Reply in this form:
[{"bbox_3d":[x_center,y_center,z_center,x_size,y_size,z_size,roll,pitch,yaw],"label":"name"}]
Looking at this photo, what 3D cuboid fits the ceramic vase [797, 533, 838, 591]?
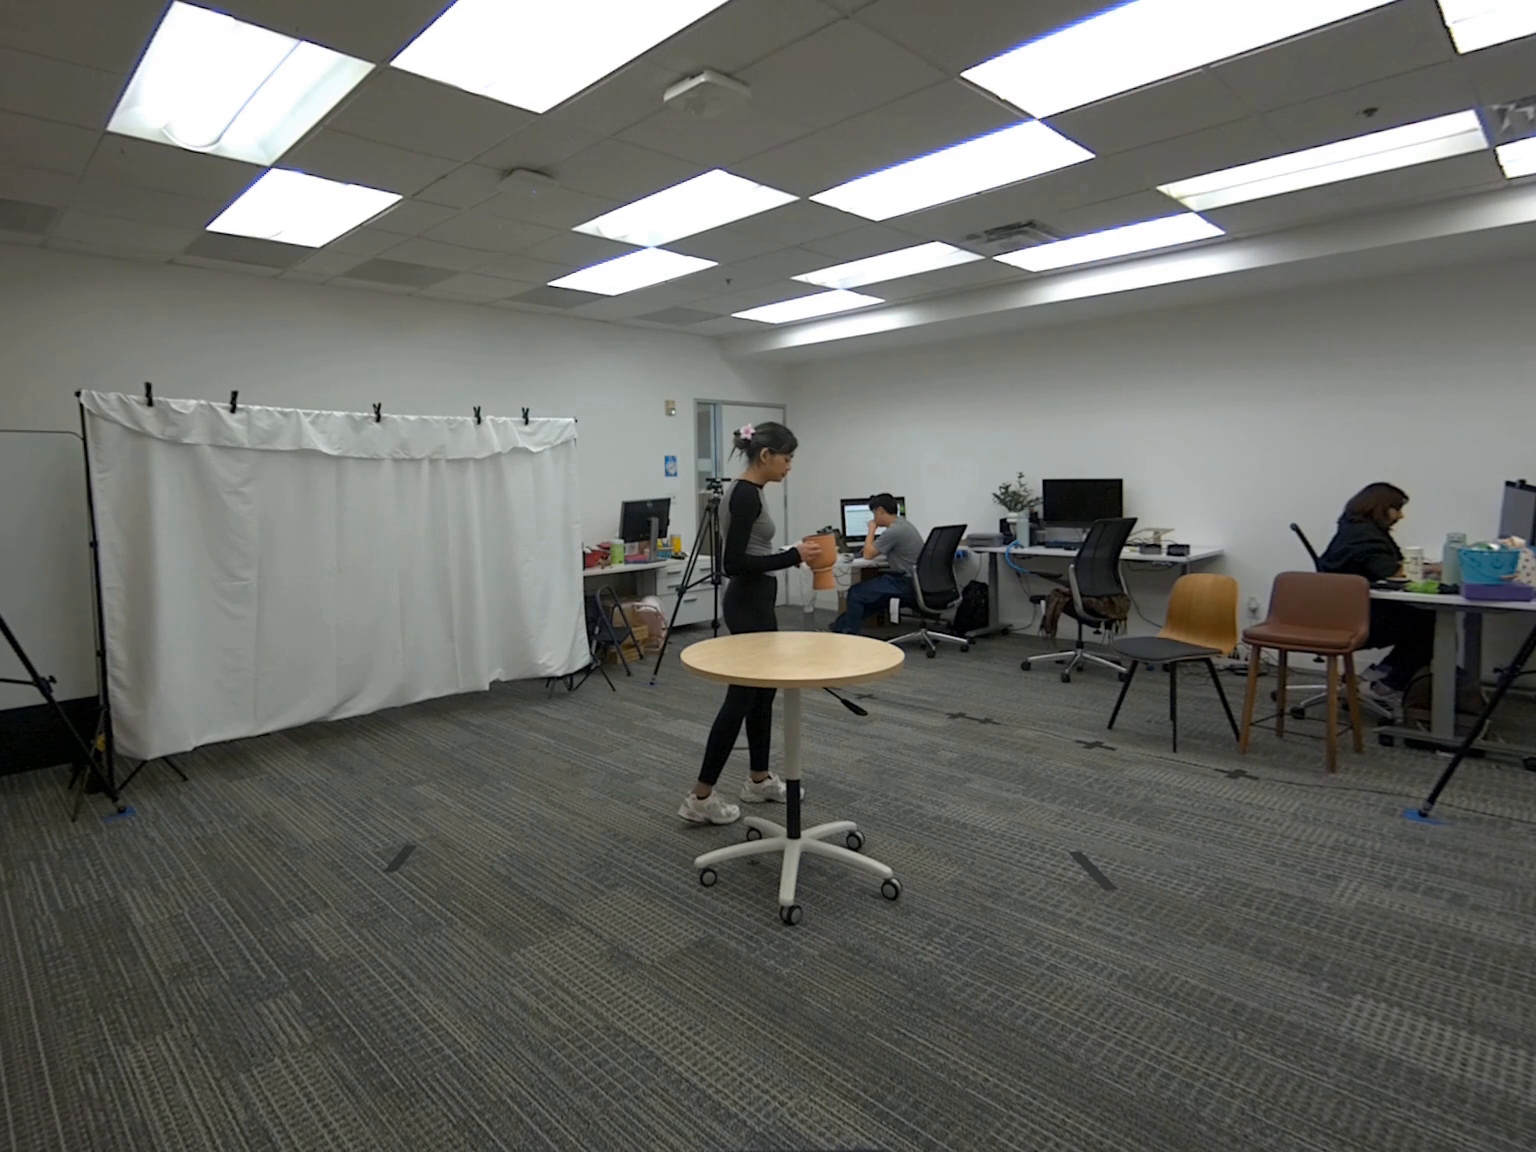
[{"bbox_3d":[0.212,-0.058,3.529,0.155,0.219,0.138,-8,3,-30],"label":"ceramic vase"}]
